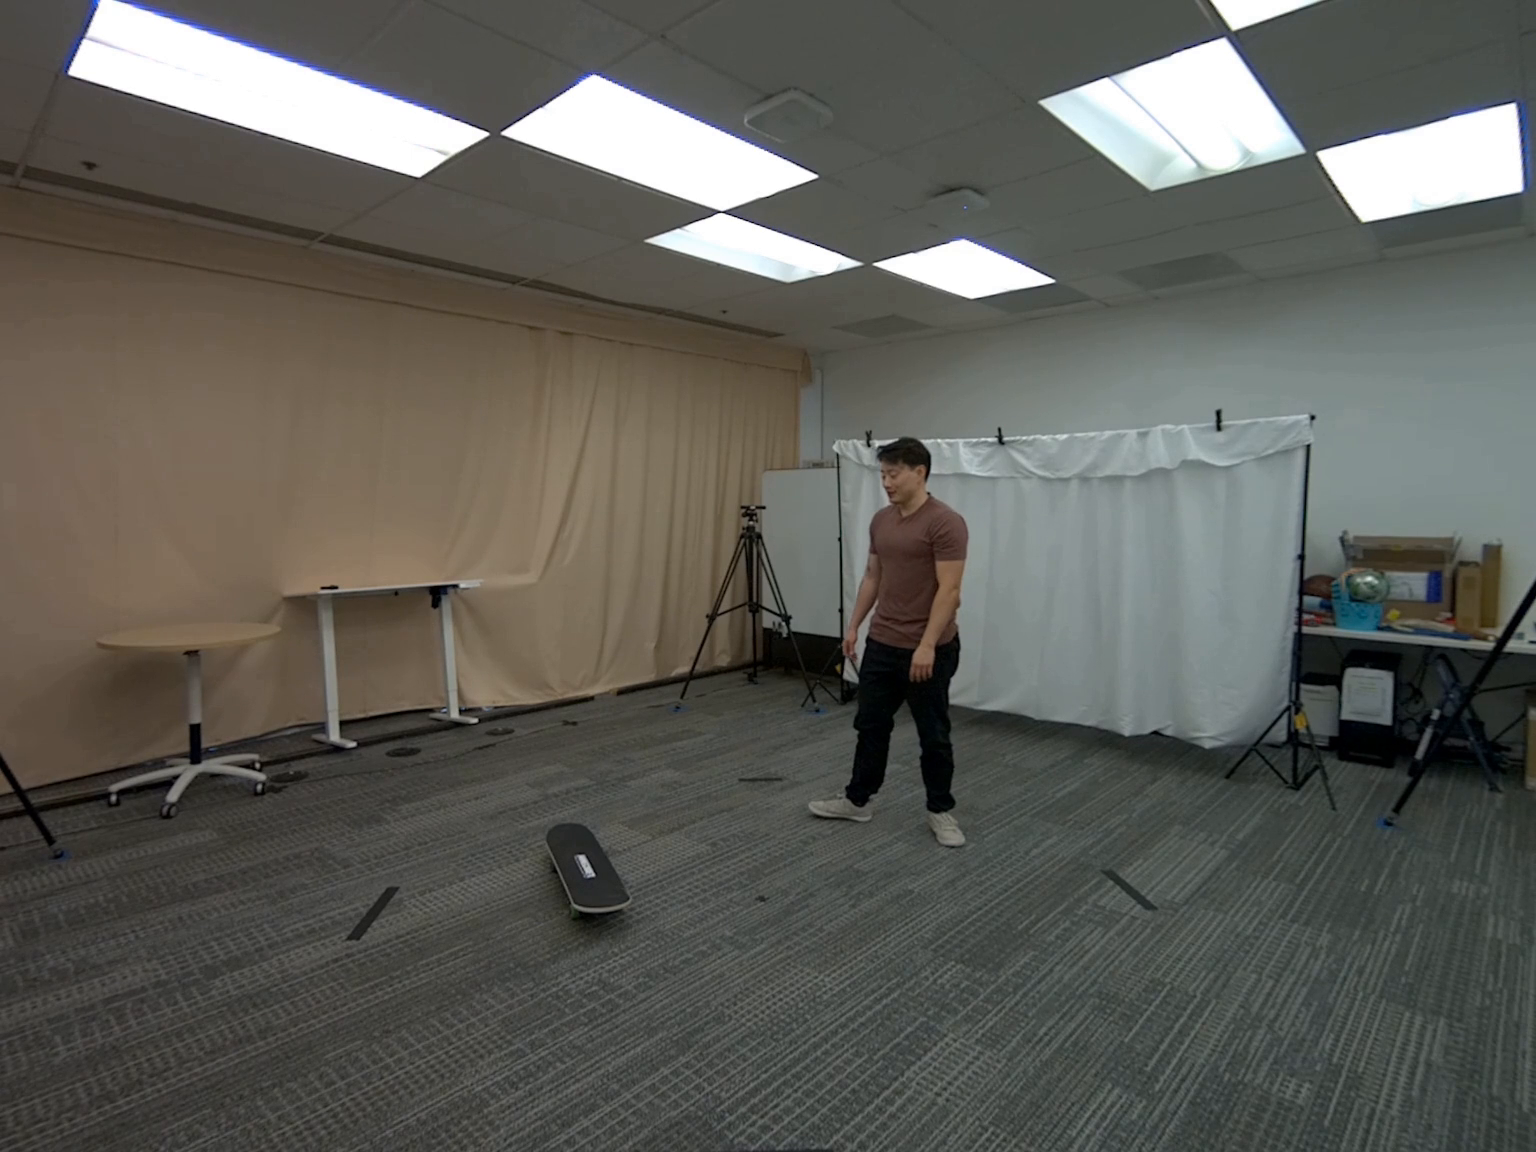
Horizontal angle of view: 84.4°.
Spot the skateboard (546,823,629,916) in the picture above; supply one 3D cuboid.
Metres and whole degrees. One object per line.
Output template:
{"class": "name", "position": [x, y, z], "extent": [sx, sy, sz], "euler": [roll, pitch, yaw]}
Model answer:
{"class": "skateboard", "position": [-0.666, 1.087, 3.064], "extent": [0.189, 0.110, 0.804], "euler": [-2, 5, -23]}
